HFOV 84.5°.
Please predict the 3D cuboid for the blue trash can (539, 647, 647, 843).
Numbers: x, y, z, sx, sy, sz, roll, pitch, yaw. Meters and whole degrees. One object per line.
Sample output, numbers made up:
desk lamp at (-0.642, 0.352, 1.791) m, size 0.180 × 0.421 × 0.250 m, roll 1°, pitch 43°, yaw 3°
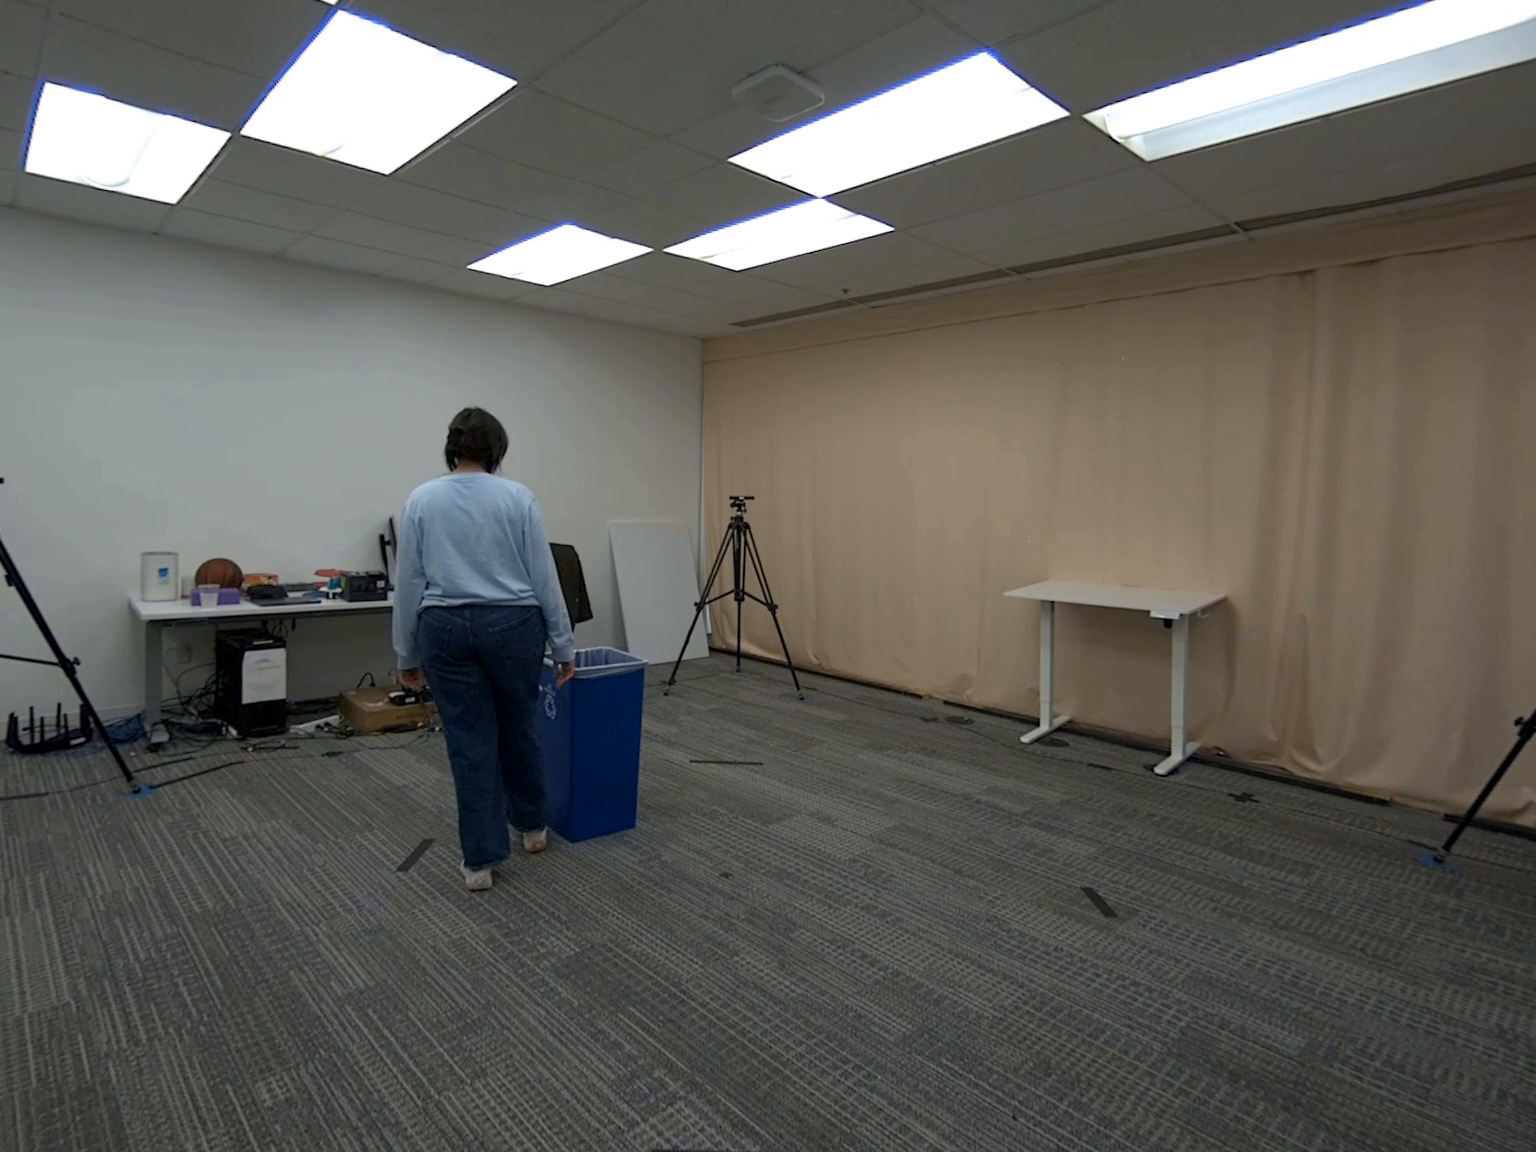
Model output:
blue trash can at (-0.761, 0.696, 3.537) m, size 0.365 × 0.711 × 0.388 m, roll -2°, pitch 5°, yaw -40°
